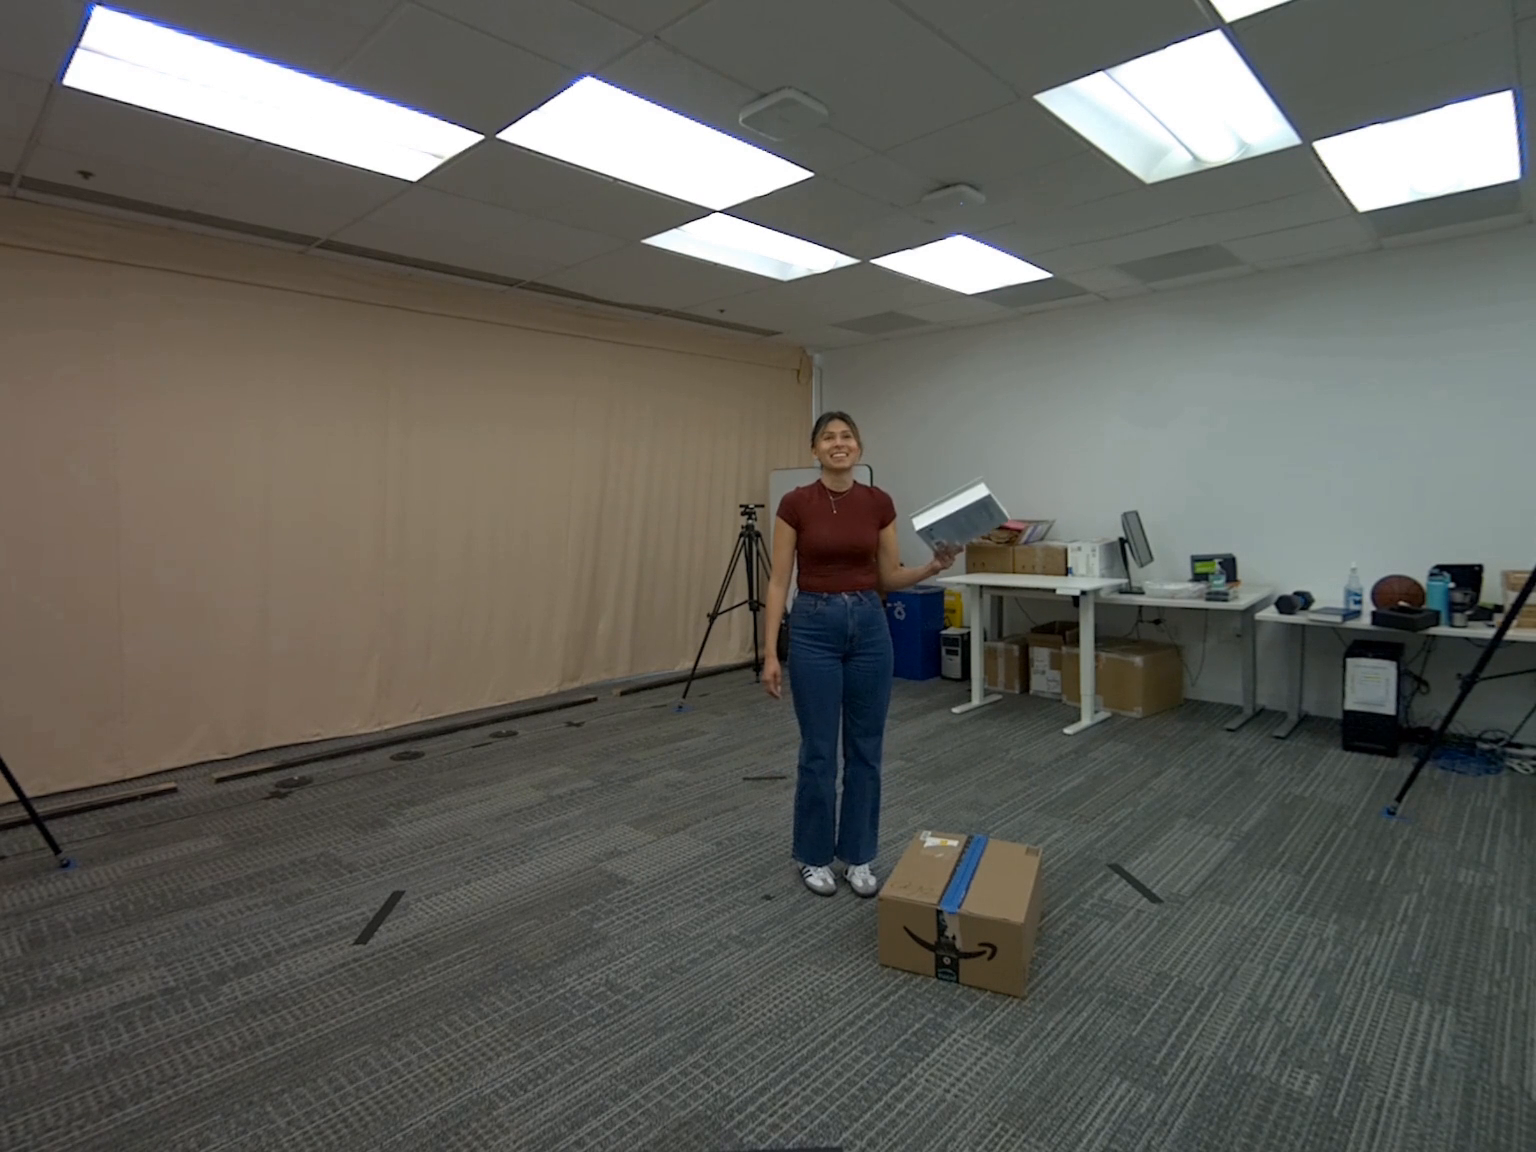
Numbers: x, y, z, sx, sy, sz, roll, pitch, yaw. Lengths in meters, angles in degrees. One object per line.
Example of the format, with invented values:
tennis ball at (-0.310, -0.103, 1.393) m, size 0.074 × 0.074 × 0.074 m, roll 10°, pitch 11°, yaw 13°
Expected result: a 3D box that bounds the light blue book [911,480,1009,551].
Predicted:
light blue book at (0.630, -0.177, 2.737) m, size 0.264 × 0.060 × 0.184 m, roll -29°, pitch -43°, yaw 22°
